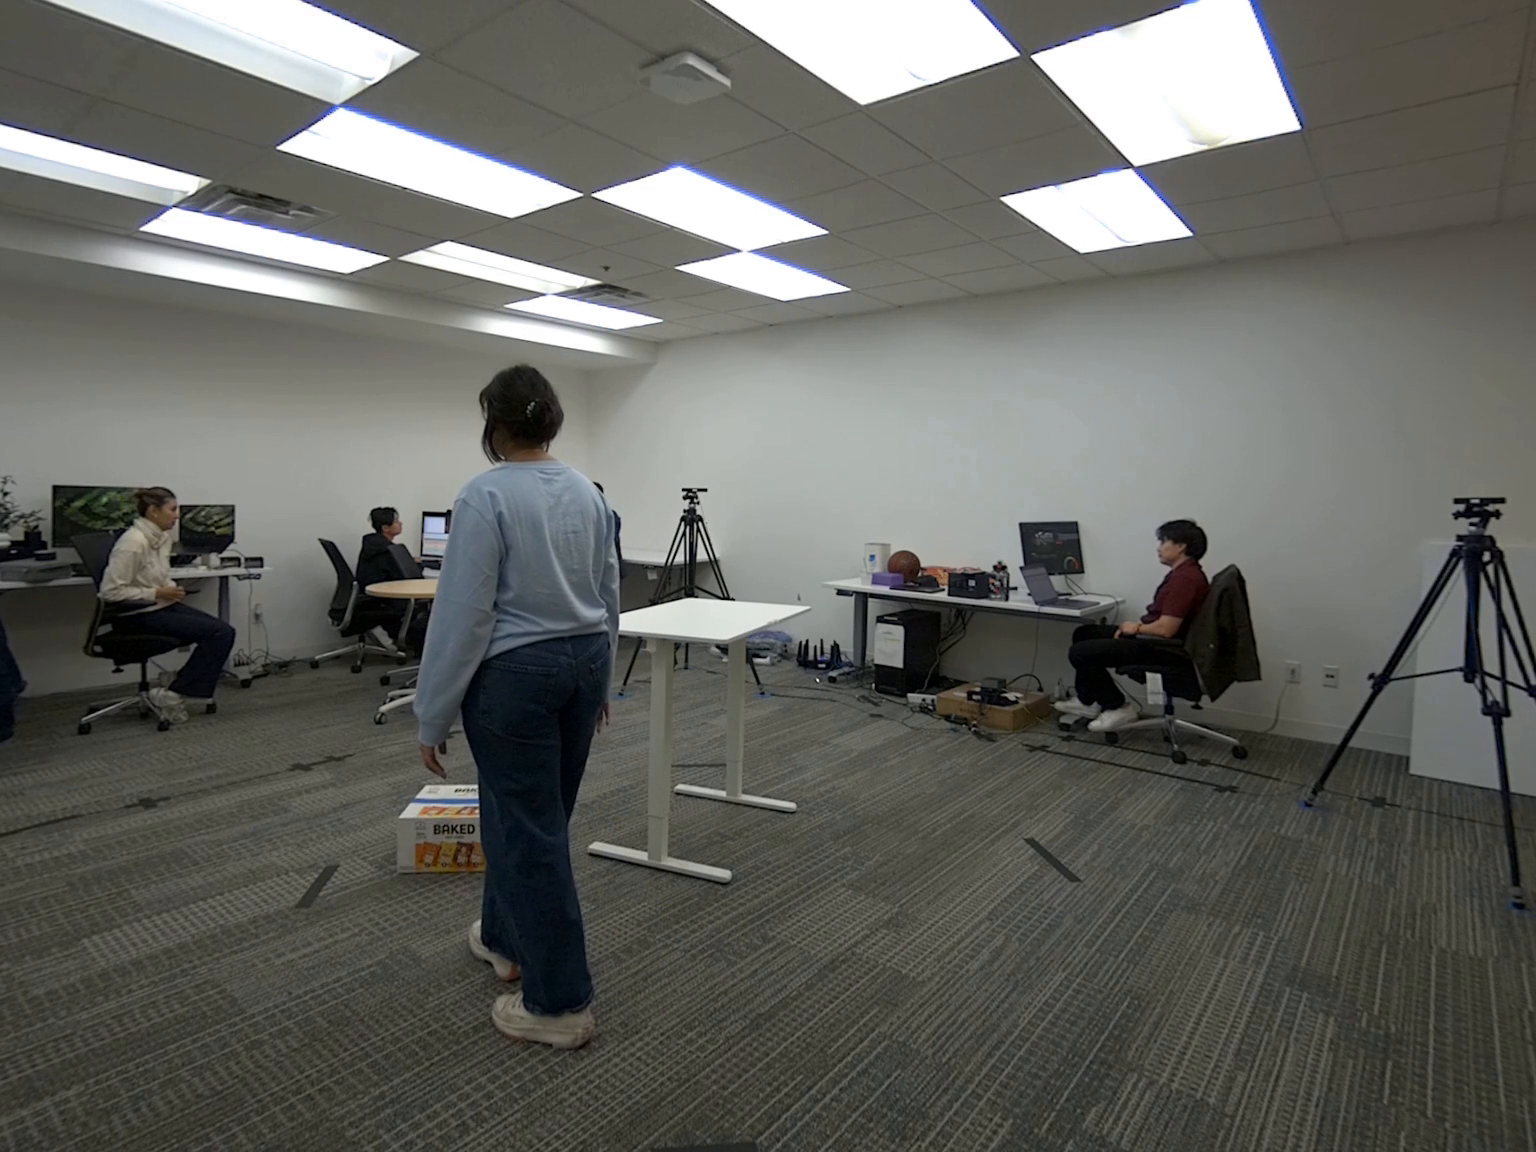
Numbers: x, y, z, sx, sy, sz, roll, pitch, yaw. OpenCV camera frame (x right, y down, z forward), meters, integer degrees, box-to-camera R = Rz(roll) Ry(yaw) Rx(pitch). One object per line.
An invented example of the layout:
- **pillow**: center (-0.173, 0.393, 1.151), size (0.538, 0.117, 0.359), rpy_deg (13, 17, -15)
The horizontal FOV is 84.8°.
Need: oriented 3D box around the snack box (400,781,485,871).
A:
- **snack box**: center (-1.141, 0.939, 3.202), size (0.403, 0.205, 0.343), rpy_deg (0, 5, -5)
